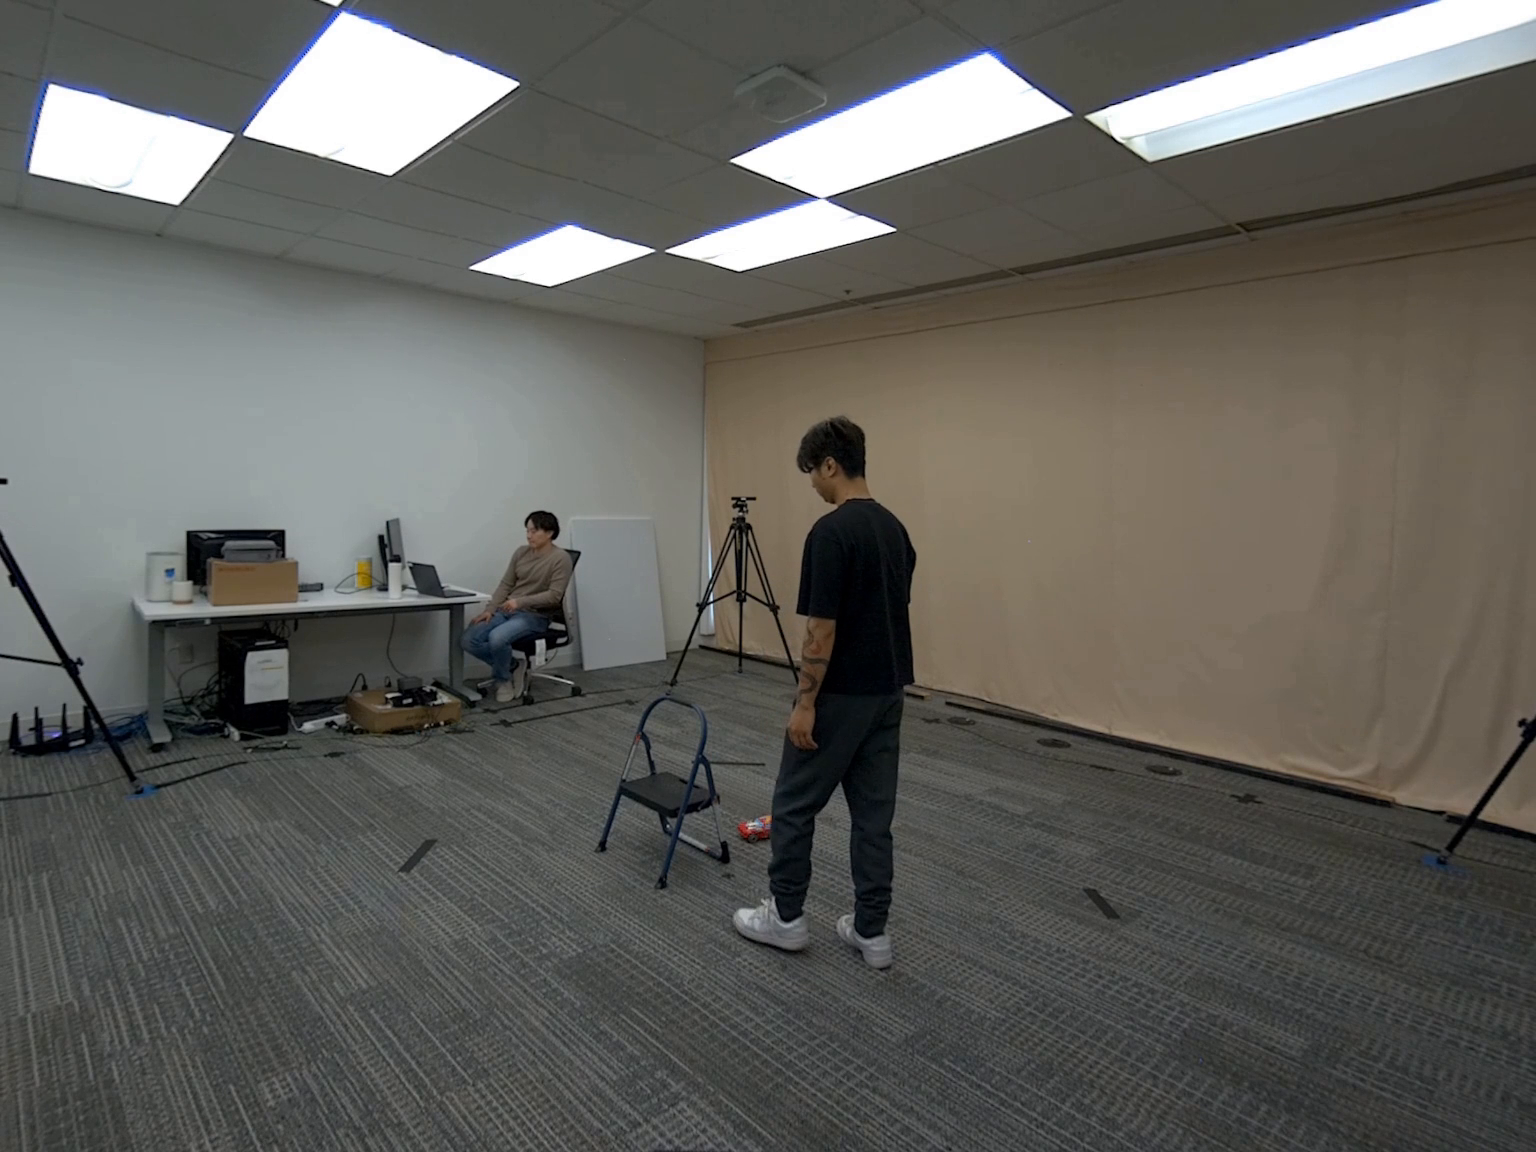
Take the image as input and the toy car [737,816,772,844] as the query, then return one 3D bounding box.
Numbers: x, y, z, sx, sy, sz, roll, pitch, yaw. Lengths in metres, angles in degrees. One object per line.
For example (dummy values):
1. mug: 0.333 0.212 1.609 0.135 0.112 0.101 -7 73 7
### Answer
1. toy car: 0.001 1.046 3.490 0.252 0.083 0.132 -13 8 -19
